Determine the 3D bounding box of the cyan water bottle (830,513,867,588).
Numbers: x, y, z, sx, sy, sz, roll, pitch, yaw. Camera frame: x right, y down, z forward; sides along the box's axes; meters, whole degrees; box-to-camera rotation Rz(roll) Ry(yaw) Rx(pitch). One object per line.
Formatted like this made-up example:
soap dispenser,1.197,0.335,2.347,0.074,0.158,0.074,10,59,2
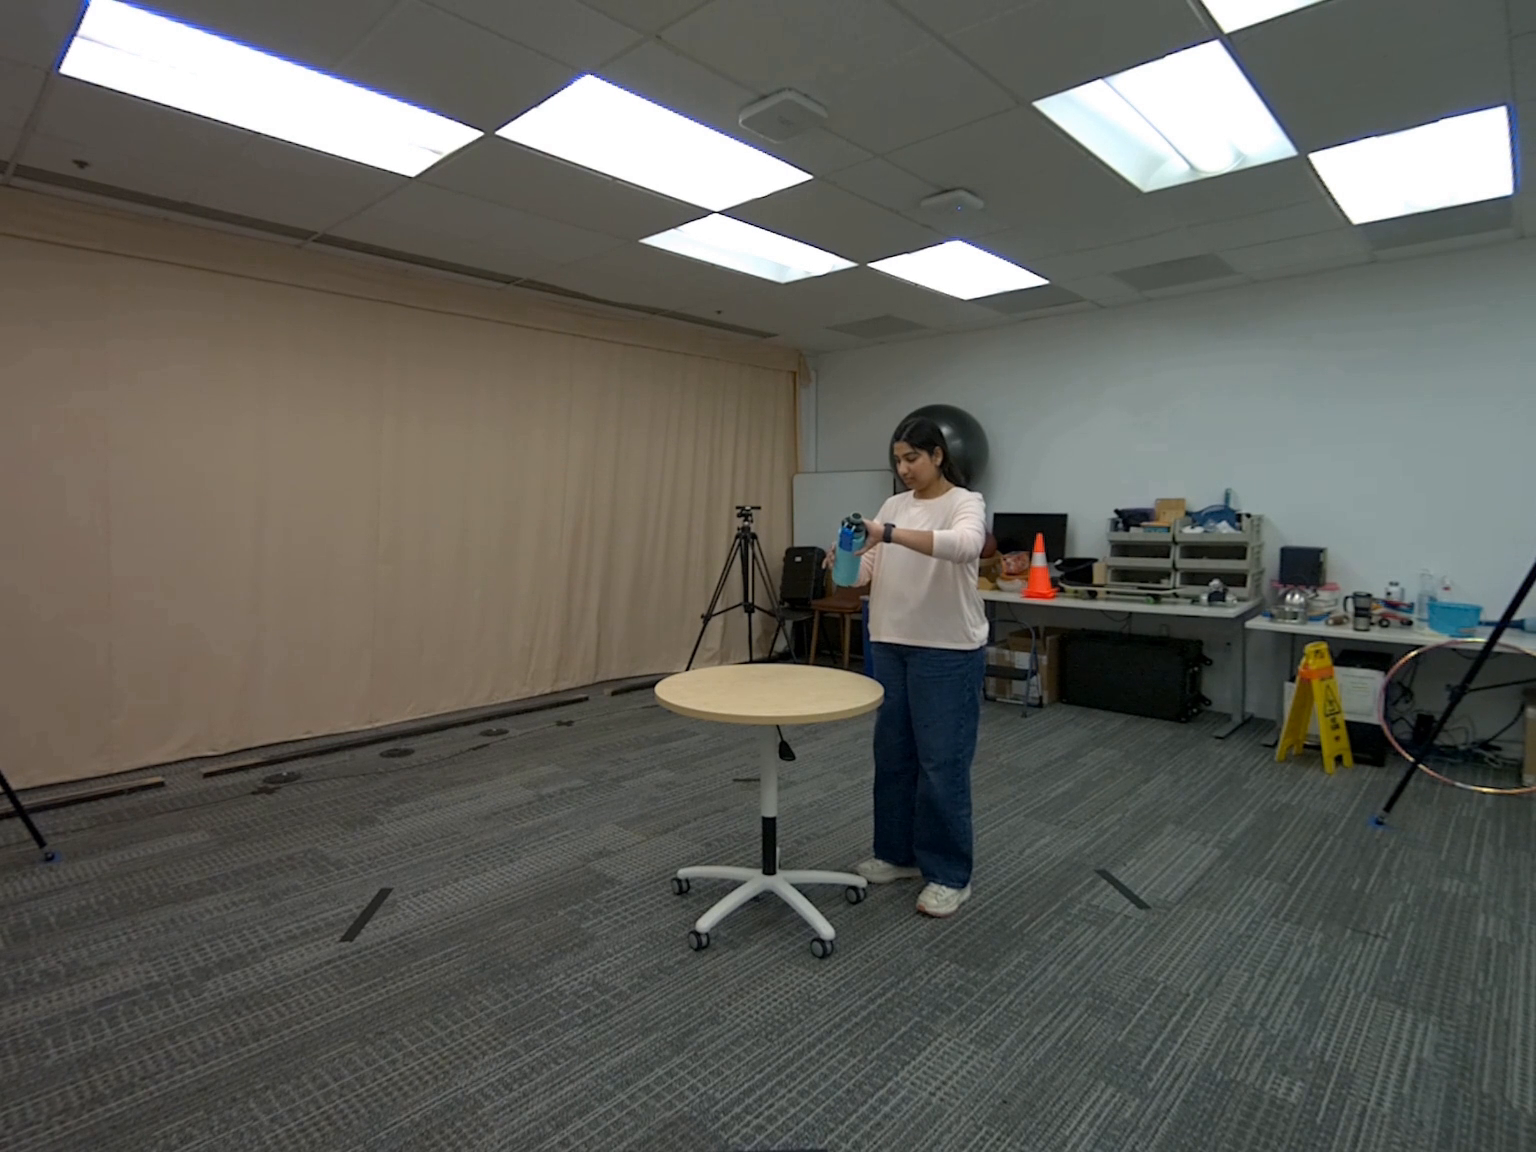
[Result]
cyan water bottle,0.280,-0.087,2.784,0.092,0.094,0.278,0,-42,-1
